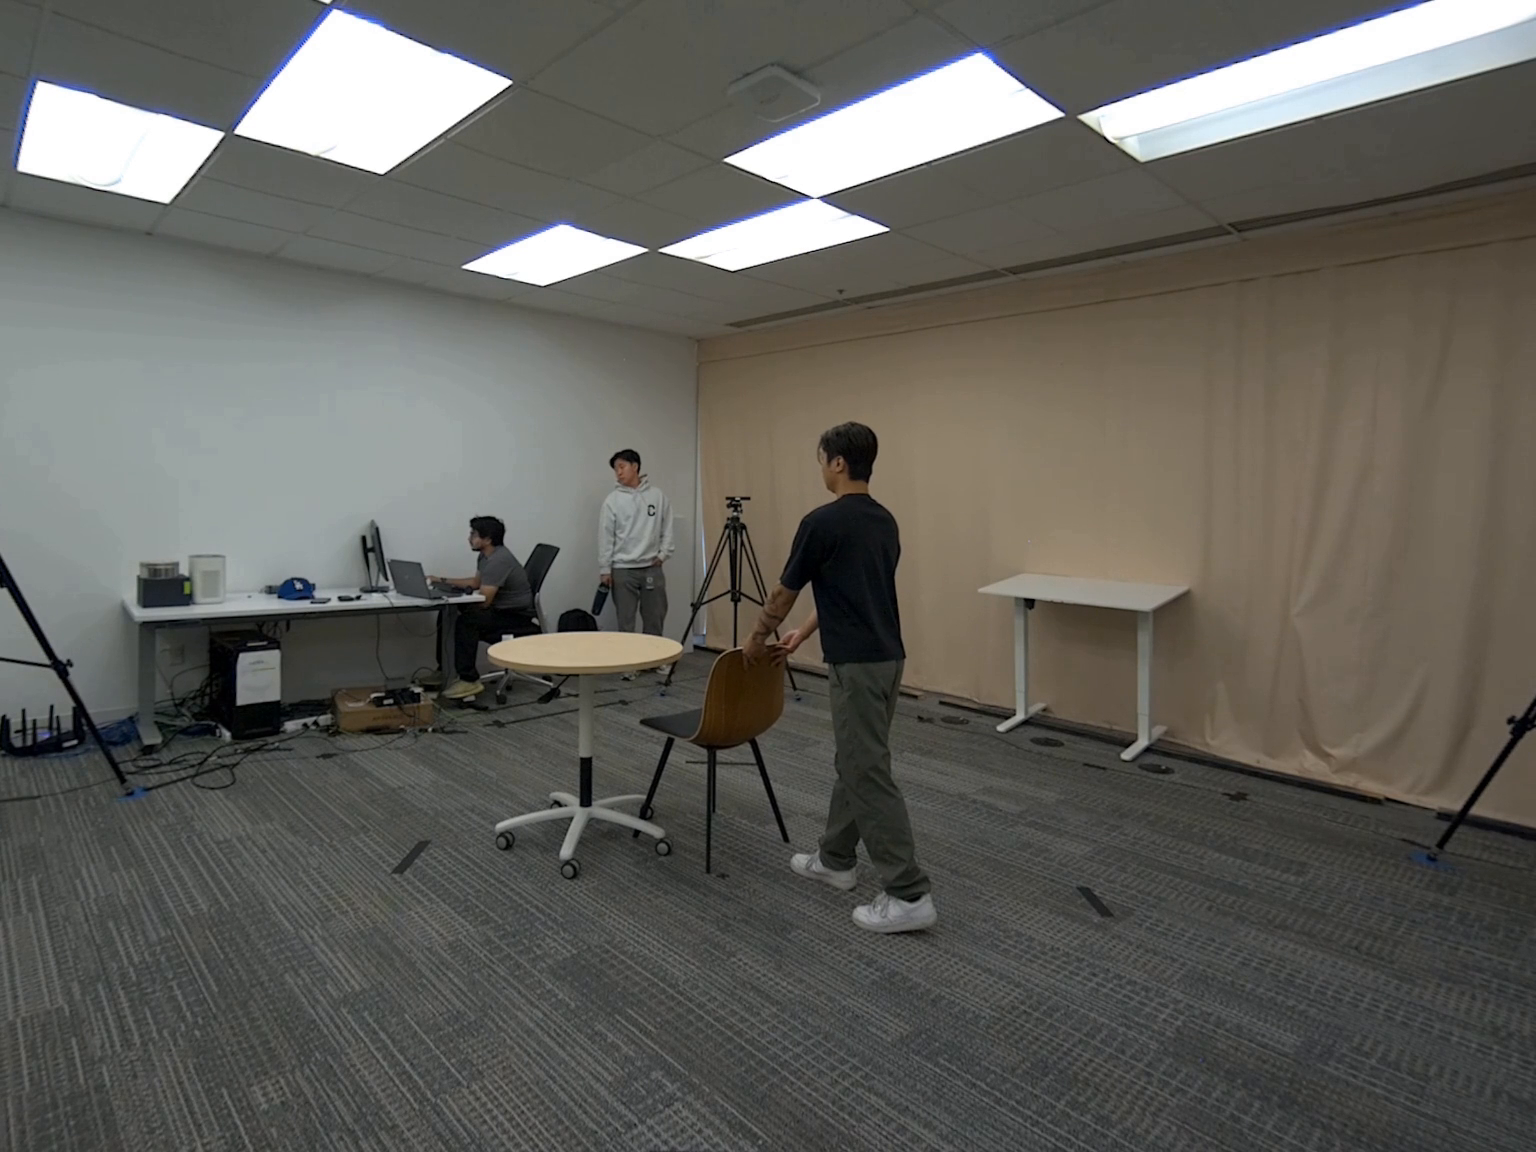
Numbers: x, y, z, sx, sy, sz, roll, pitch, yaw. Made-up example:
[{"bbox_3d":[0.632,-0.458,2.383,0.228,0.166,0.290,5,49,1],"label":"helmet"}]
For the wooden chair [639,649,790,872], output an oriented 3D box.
[{"bbox_3d":[-0.232,0.649,3.404,0.467,0.873,0.538,-2,10,-45],"label":"wooden chair"}]
